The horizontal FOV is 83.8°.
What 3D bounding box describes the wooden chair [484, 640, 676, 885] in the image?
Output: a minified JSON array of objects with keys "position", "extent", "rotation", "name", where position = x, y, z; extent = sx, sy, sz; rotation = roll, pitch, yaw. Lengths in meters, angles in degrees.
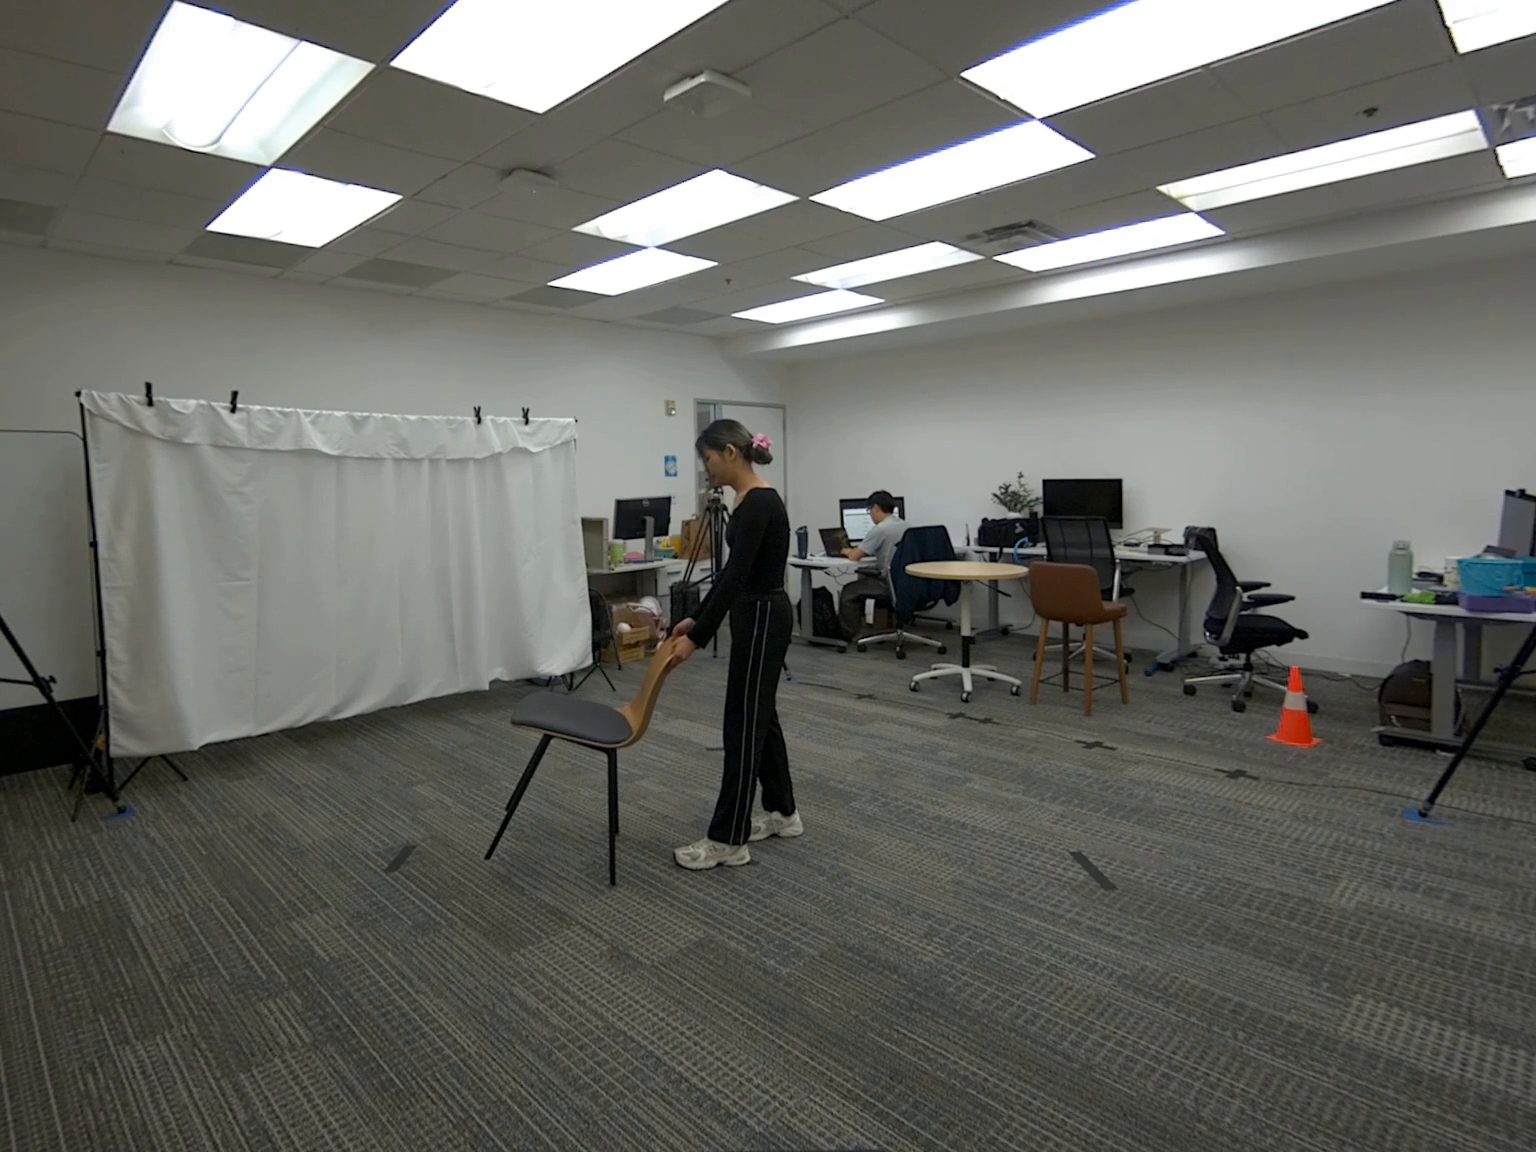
[{"position":[-0.671,0.577,3.120],"extent":[0.518,0.876,0.483],"rotation":[19,2,-8],"name":"wooden chair"}]
